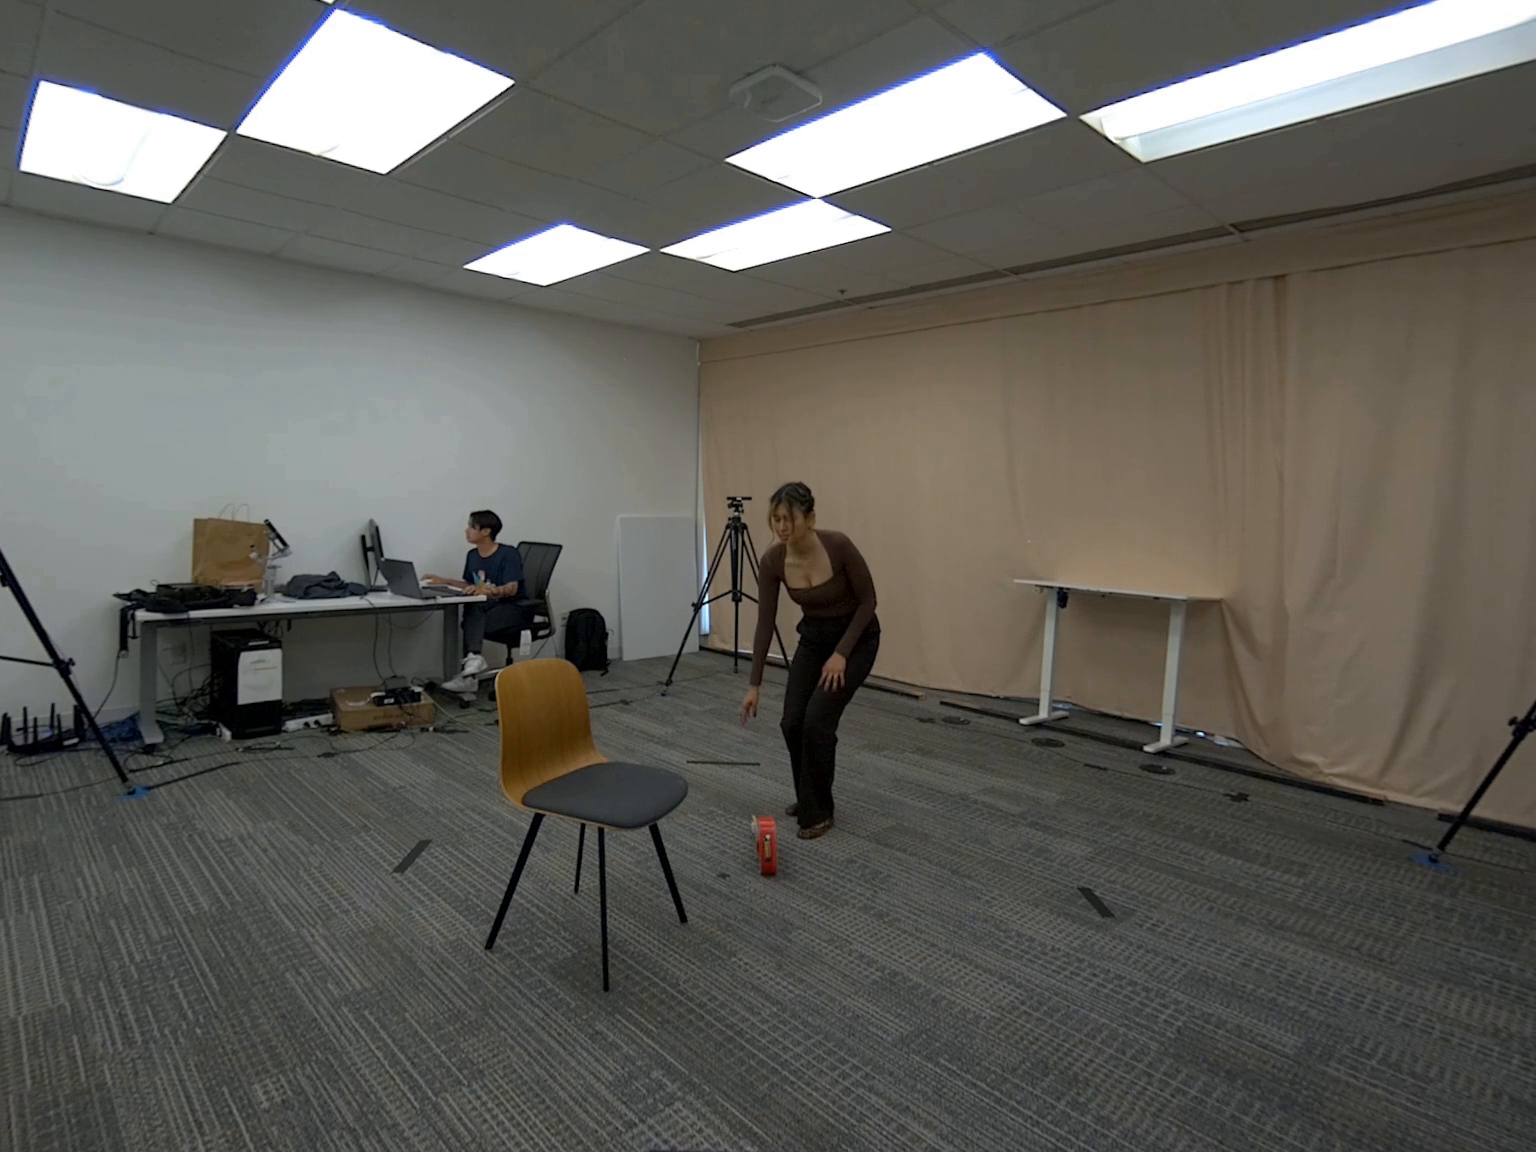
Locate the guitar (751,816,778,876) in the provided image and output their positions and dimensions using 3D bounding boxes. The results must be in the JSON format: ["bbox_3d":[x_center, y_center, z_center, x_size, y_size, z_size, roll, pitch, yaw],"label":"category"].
[{"bbox_3d":[-0.032,0.996,3.329,0.070,0.192,0.501,-3,5,-6],"label":"guitar"}]
